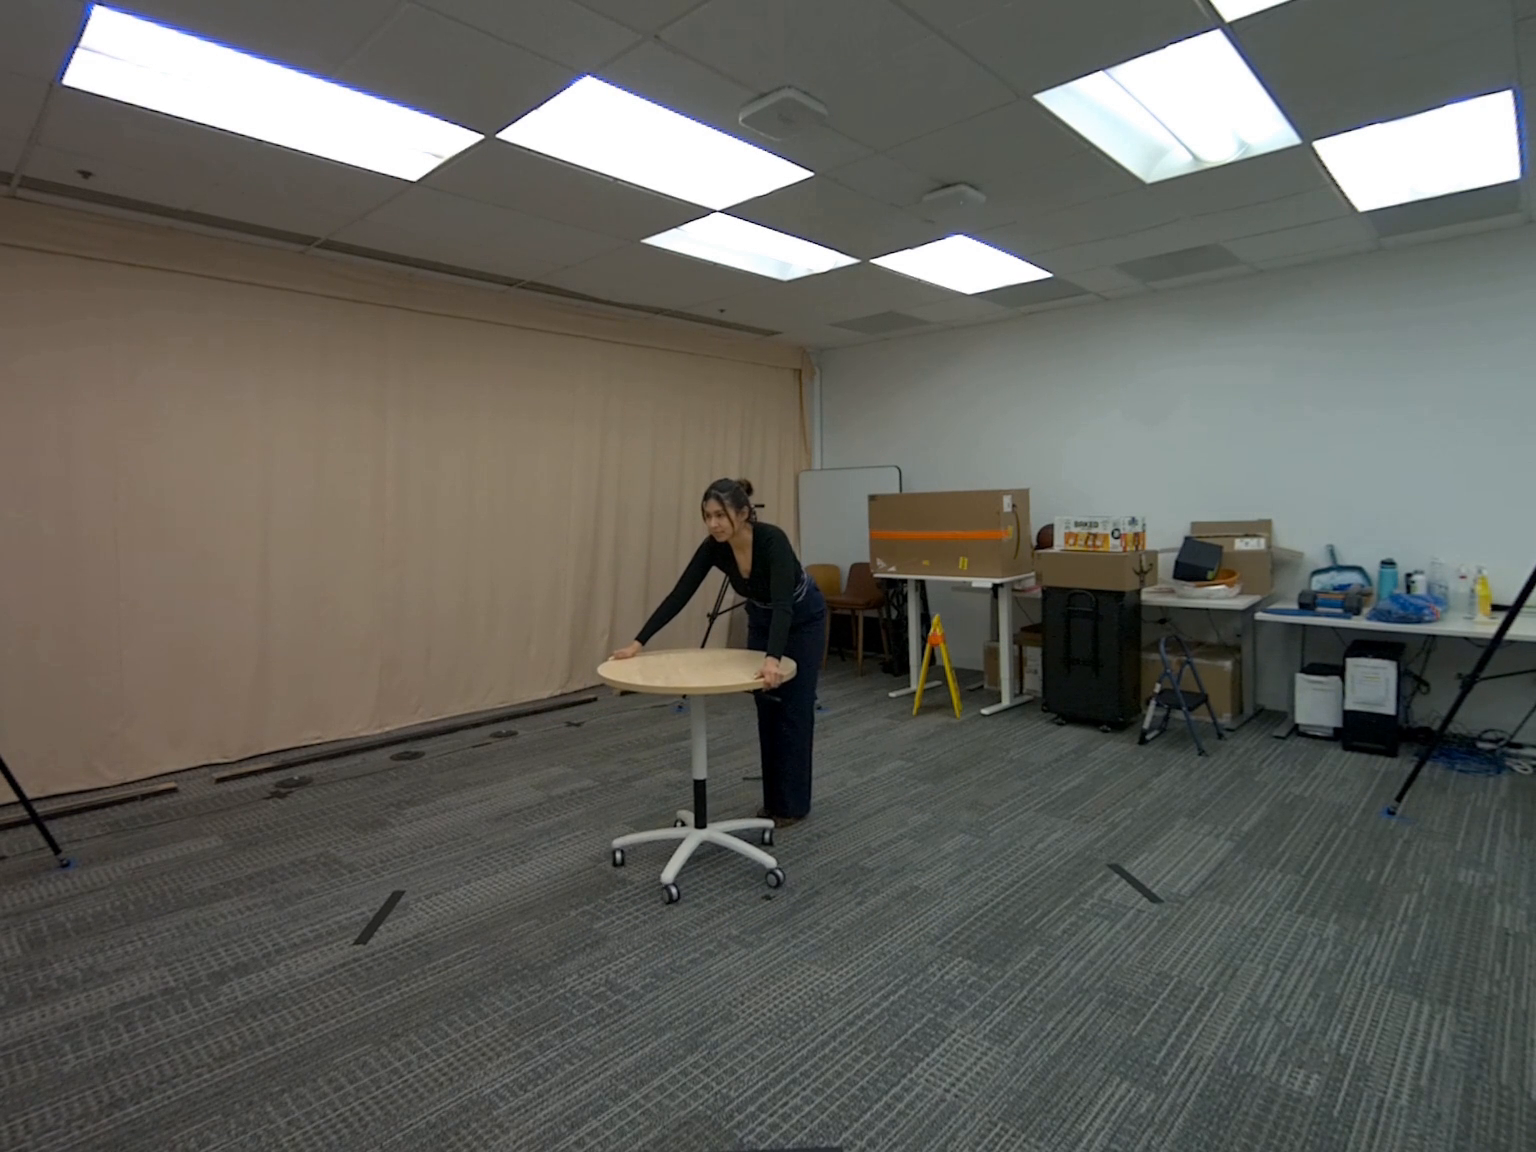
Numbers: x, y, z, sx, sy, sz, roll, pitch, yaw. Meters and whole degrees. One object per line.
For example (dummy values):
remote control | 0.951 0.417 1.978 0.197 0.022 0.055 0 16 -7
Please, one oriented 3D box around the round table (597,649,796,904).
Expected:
round table | -0.262 0.736 3.256 0.763 0.792 0.766 -1 4 -2
